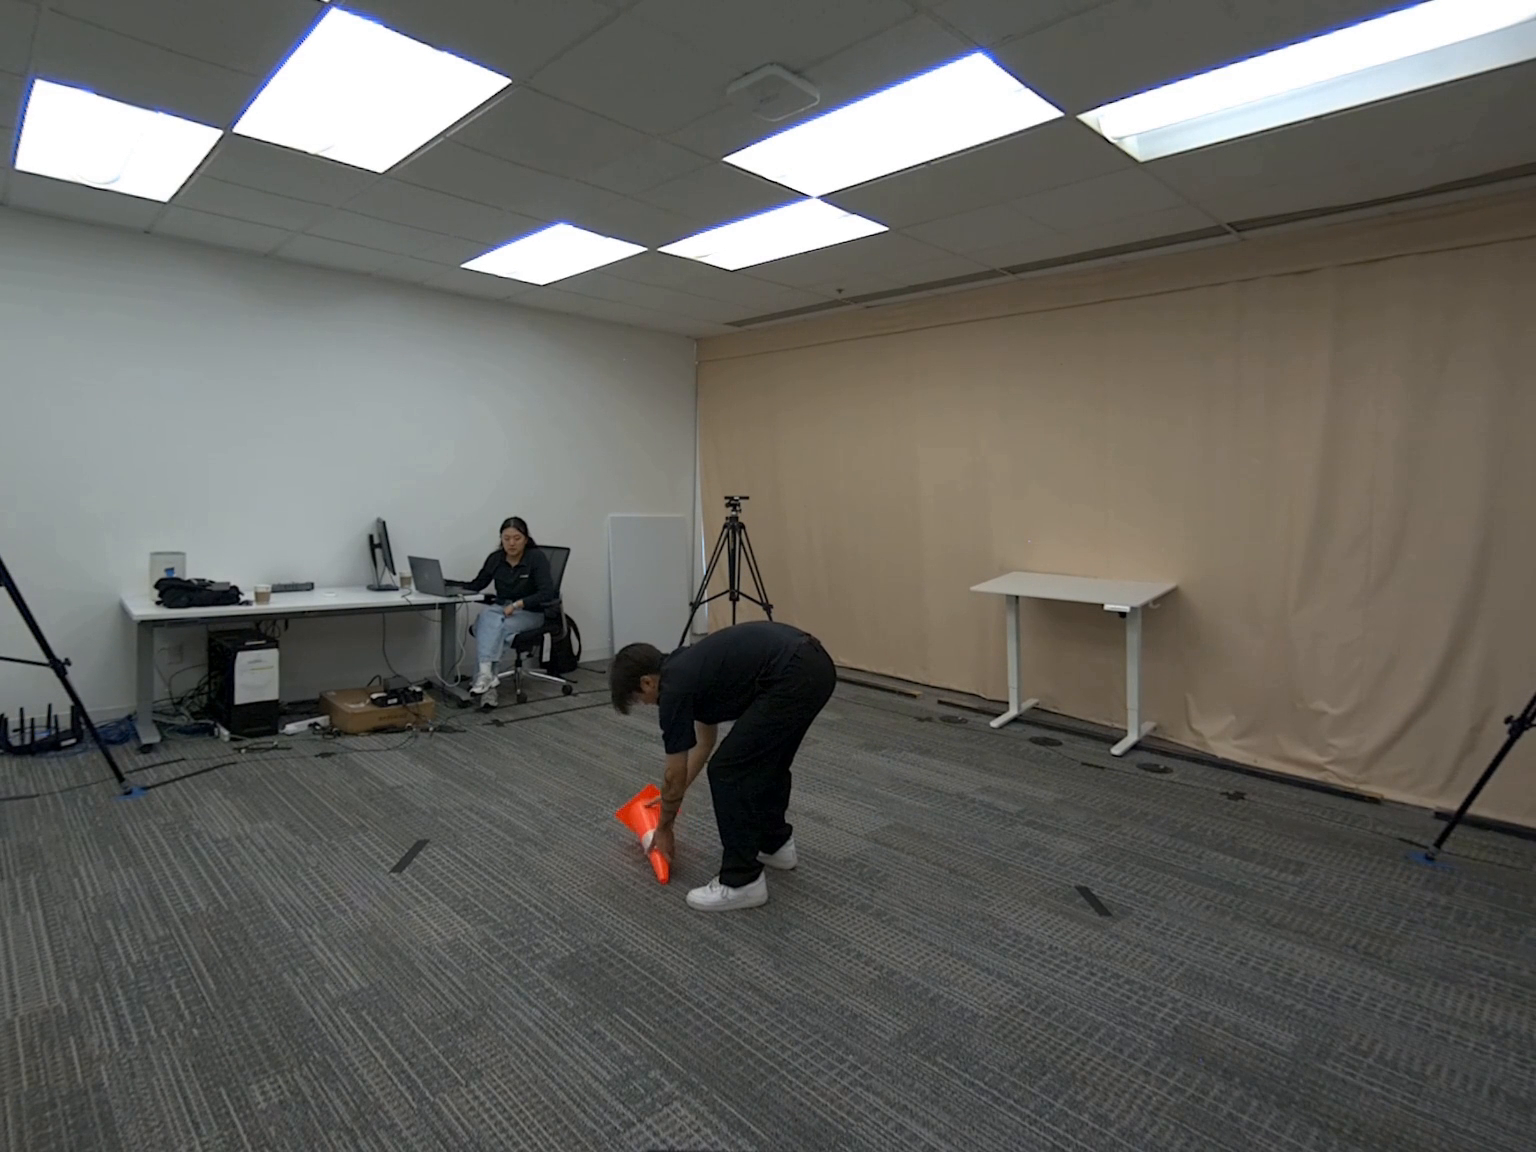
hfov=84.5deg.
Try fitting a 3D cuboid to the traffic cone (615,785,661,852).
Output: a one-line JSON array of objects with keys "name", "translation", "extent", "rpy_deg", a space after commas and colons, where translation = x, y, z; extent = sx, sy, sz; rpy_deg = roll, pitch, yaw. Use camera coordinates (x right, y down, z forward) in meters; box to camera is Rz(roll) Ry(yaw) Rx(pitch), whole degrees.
[{"name": "traffic cone", "translation": [-0.434, 1.014, 3.190], "extent": [0.203, 0.200, 0.393], "rpy_deg": [-40, 27, 2]}]
